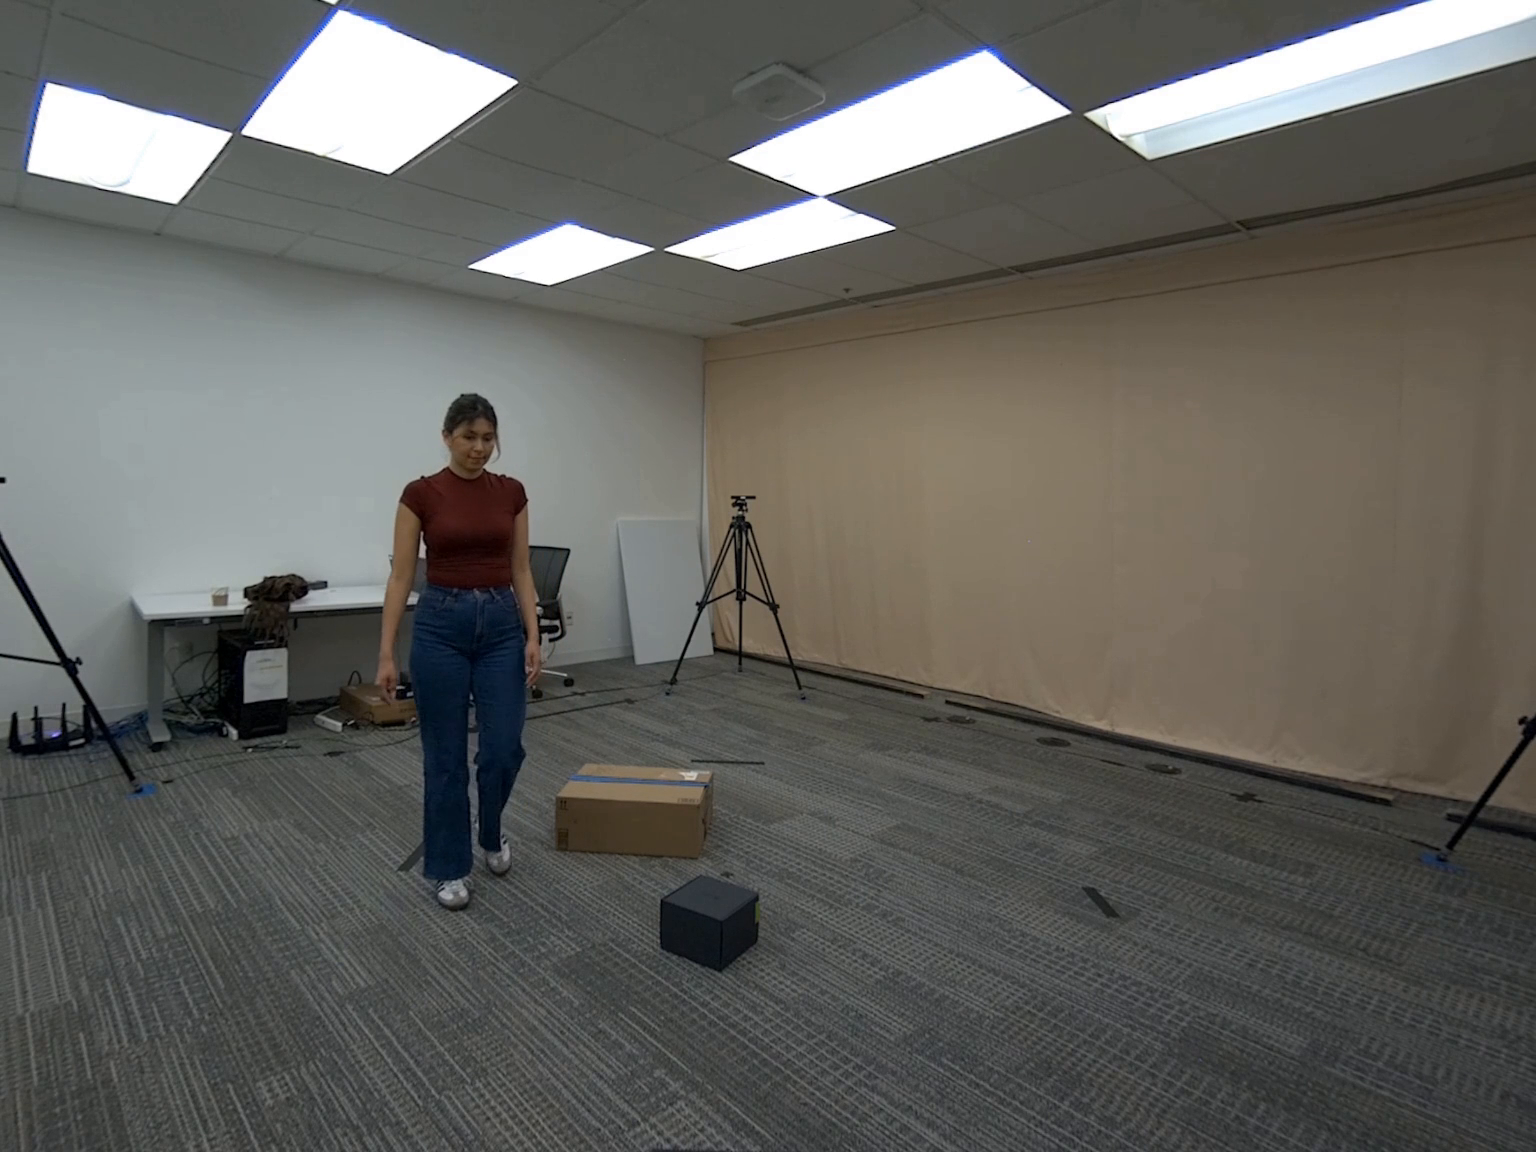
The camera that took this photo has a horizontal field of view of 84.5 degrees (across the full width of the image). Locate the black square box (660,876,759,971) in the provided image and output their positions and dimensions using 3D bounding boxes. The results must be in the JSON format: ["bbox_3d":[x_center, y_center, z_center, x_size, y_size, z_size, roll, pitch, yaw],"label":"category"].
[{"bbox_3d":[-0.185,1.063,2.599,0.233,0.155,0.212,4,5,32],"label":"black square box"}]
